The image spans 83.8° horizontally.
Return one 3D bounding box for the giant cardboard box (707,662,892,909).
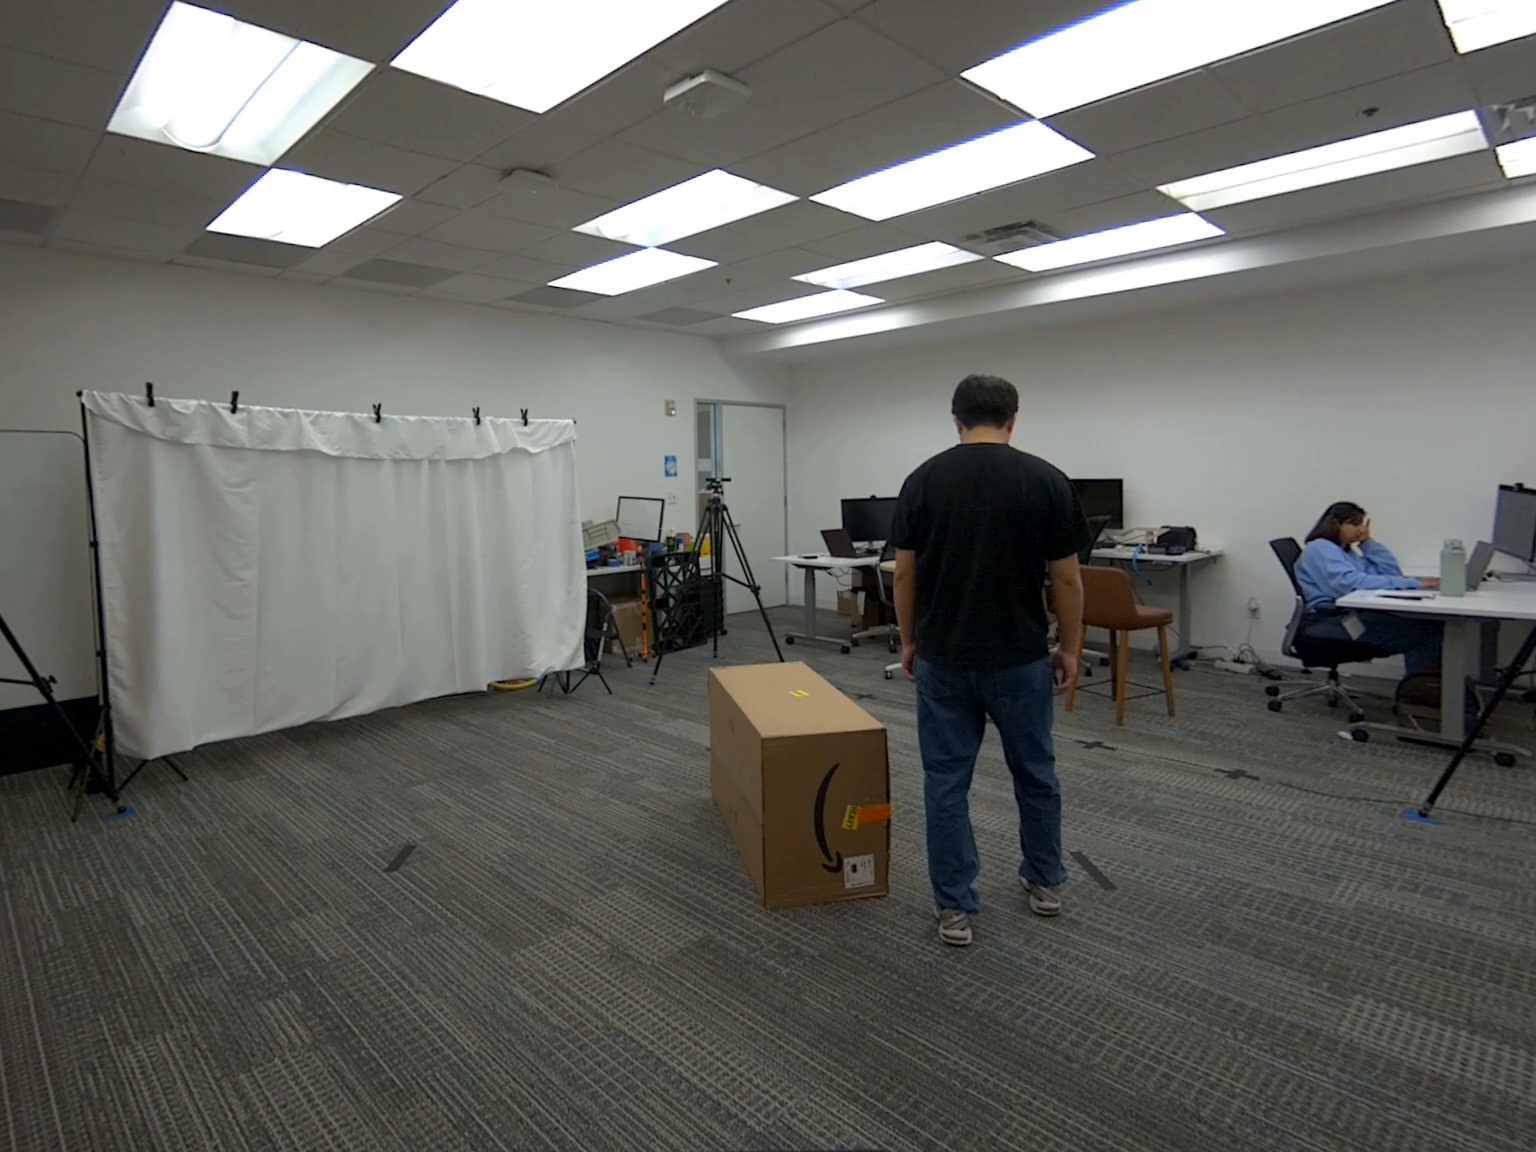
[{"bbox_3d":[0.074,0.730,3.282,0.441,0.581,1.044,-1,6,-14],"label":"giant cardboard box"}]
